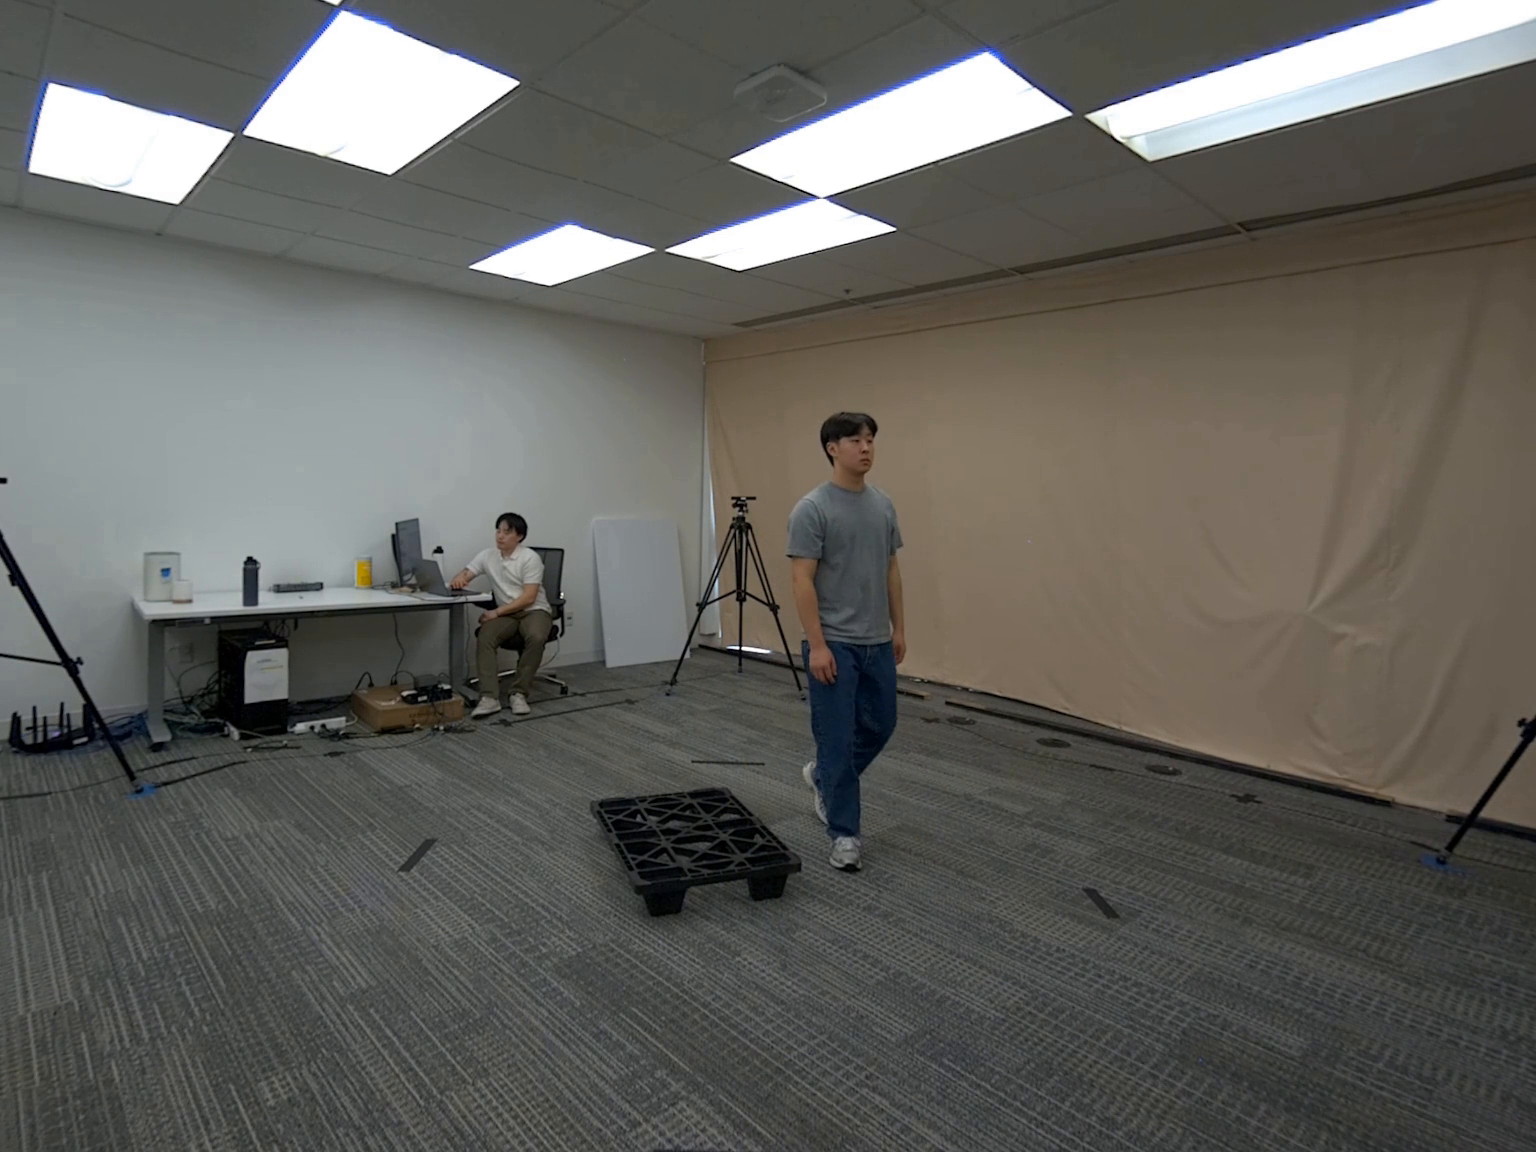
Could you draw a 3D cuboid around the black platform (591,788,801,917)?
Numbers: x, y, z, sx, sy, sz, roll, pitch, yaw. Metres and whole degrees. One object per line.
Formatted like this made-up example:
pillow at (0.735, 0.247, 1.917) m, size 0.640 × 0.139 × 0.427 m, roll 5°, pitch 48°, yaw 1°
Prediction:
black platform at (-0.311, 1.024, 3.200) m, size 0.595 × 0.143 × 0.821 m, roll 0°, pitch 5°, yaw -22°
